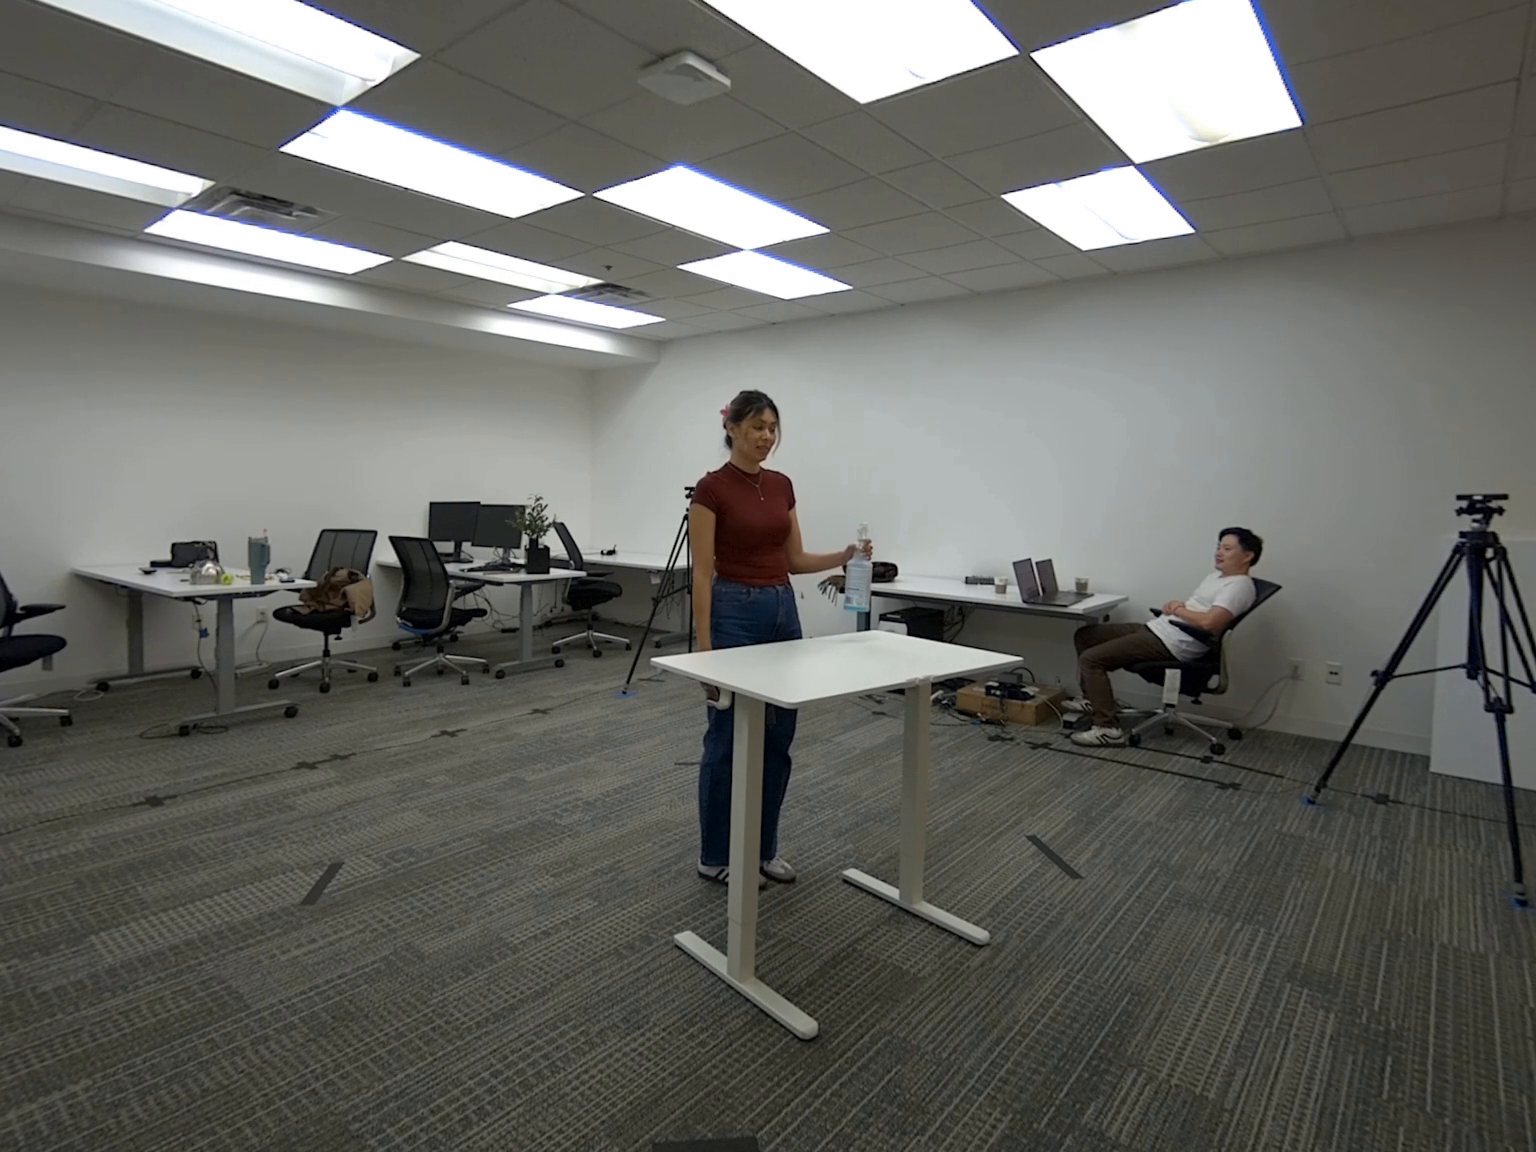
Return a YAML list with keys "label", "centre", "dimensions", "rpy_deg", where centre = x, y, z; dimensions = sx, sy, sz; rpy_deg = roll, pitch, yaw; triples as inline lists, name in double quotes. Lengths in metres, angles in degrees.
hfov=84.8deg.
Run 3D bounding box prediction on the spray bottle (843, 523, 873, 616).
- label: "spray bottle"
  centre: [0.301, -0.027, 2.861]
  dimensions: [0.089, 0.298, 0.087]
  rpy_deg: [2, -2, 24]
